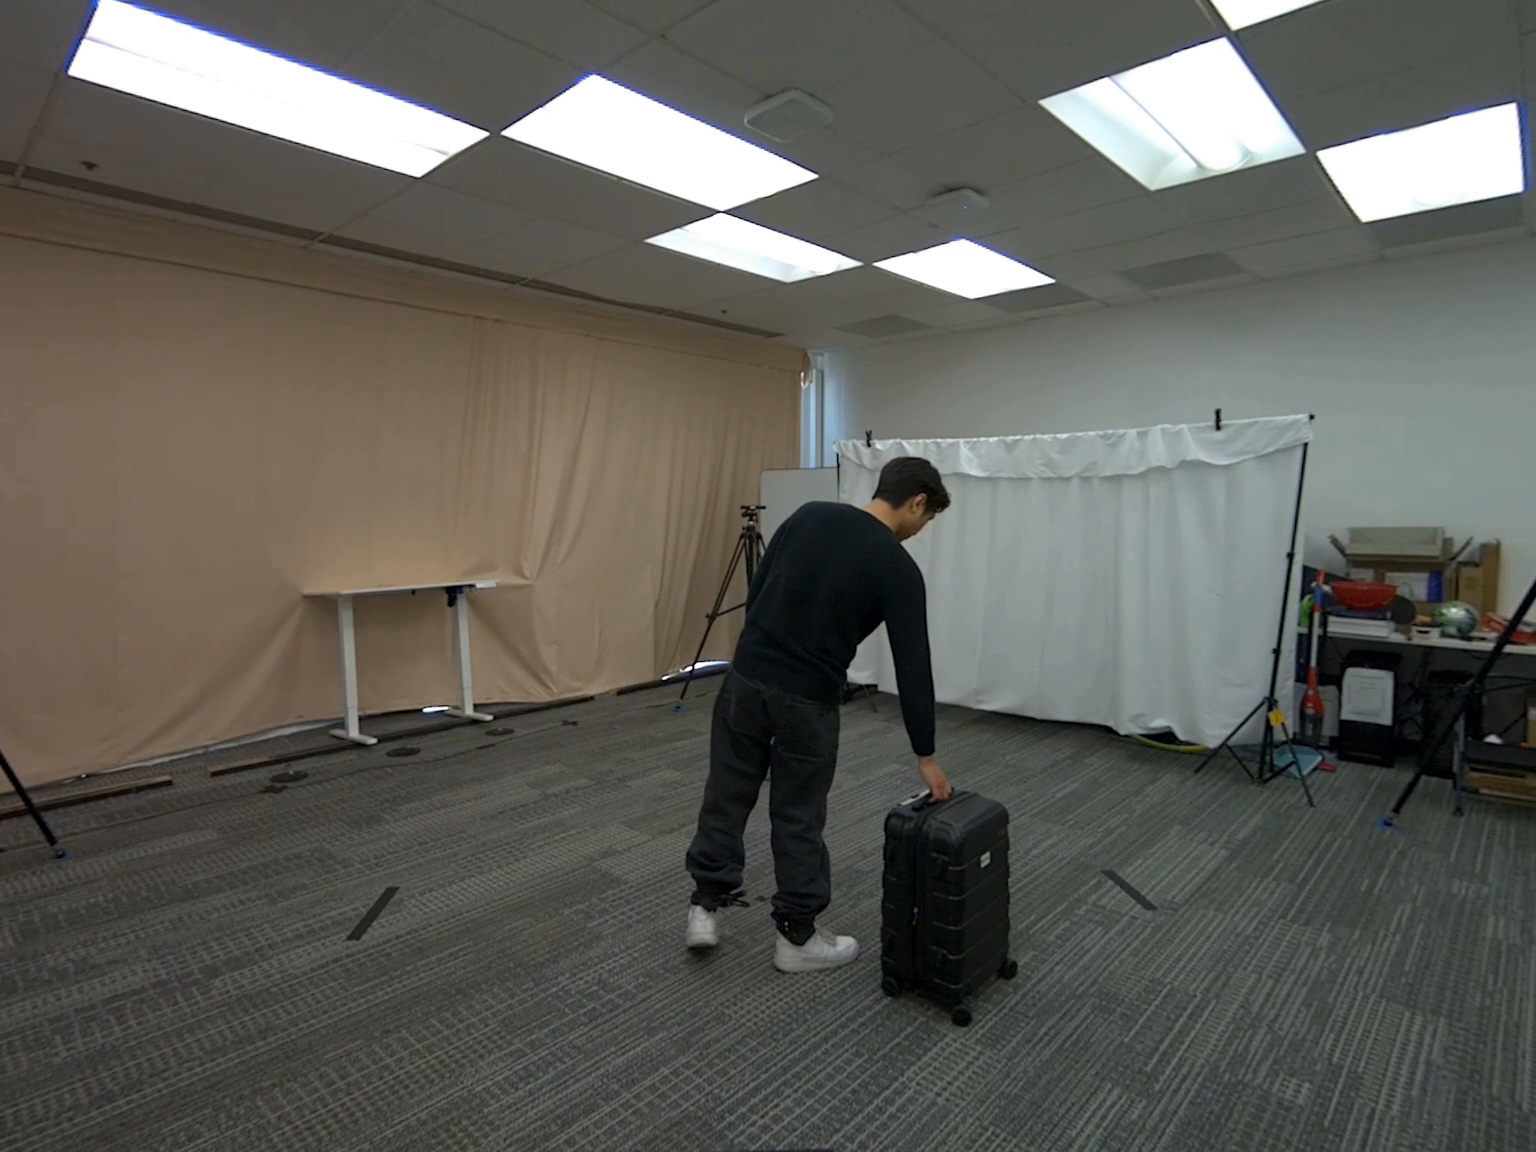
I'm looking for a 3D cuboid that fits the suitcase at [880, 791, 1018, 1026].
[{"bbox_3d":[0.525,0.914,2.428,0.256,0.548,0.364,3,4,42],"label":"suitcase"}]
